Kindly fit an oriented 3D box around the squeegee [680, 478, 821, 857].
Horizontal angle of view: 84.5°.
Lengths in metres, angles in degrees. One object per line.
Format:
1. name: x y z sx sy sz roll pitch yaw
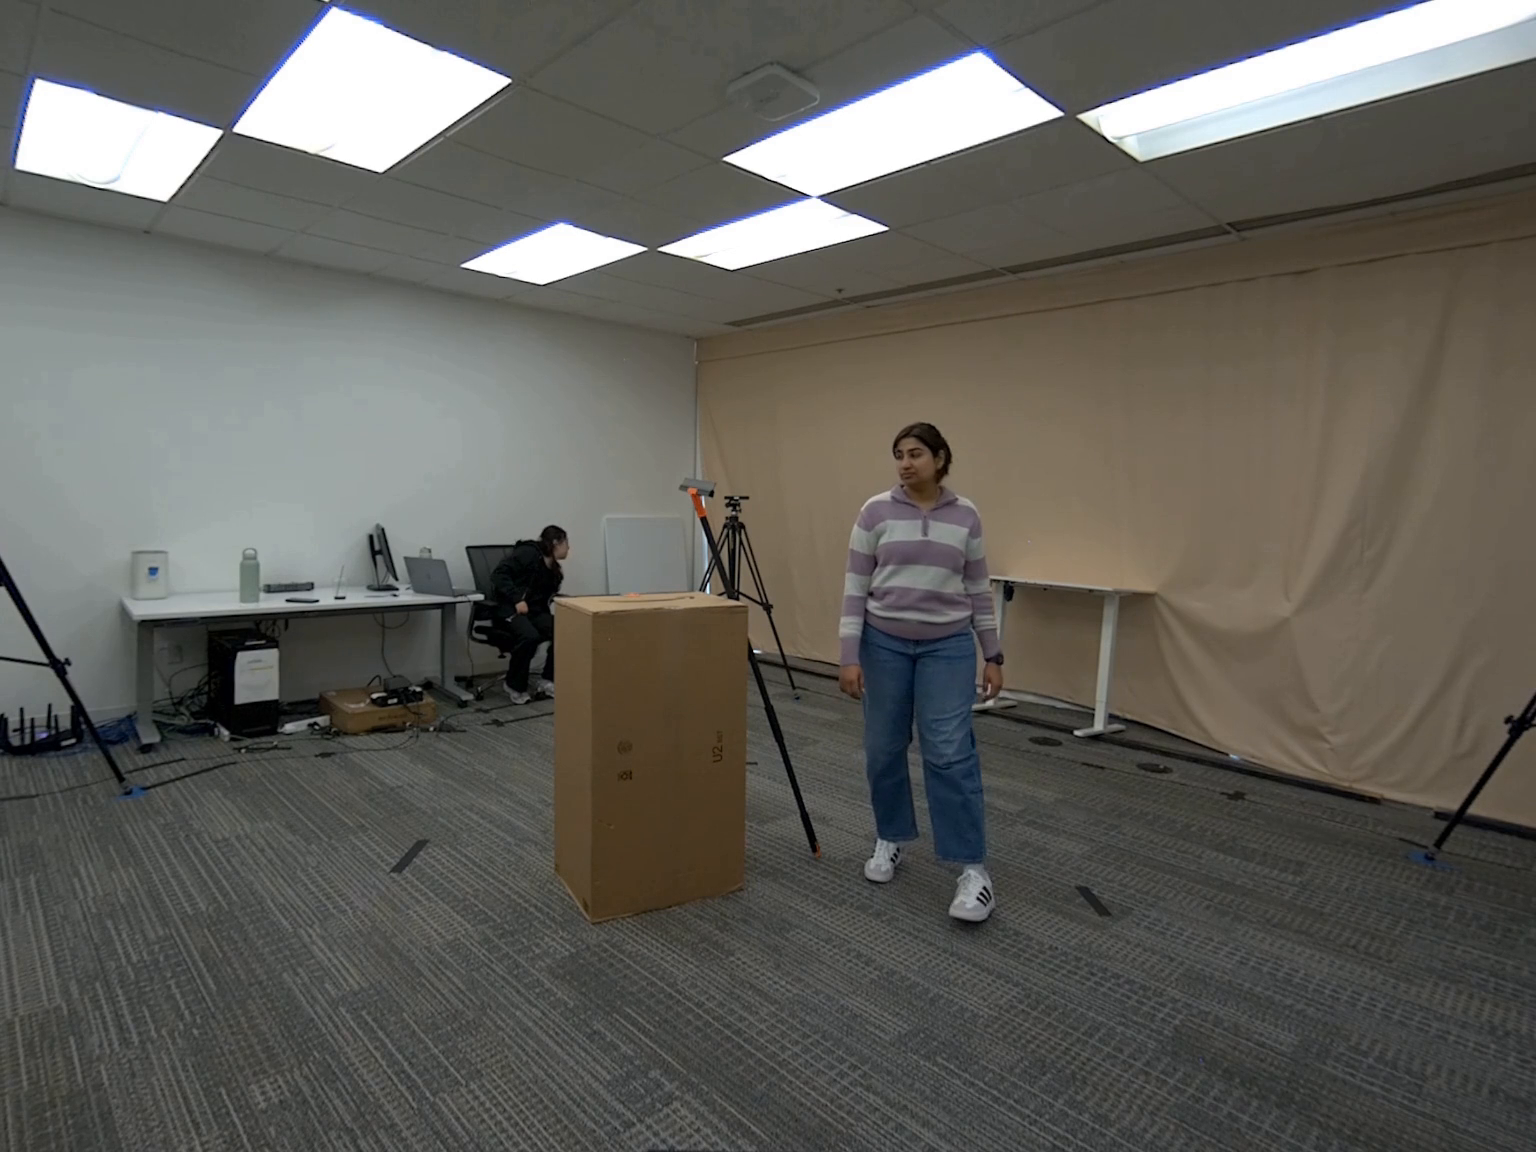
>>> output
1. squeegee: -0.034 0.380 3.116 0.052 1.519 0.446 -22 13 -18
